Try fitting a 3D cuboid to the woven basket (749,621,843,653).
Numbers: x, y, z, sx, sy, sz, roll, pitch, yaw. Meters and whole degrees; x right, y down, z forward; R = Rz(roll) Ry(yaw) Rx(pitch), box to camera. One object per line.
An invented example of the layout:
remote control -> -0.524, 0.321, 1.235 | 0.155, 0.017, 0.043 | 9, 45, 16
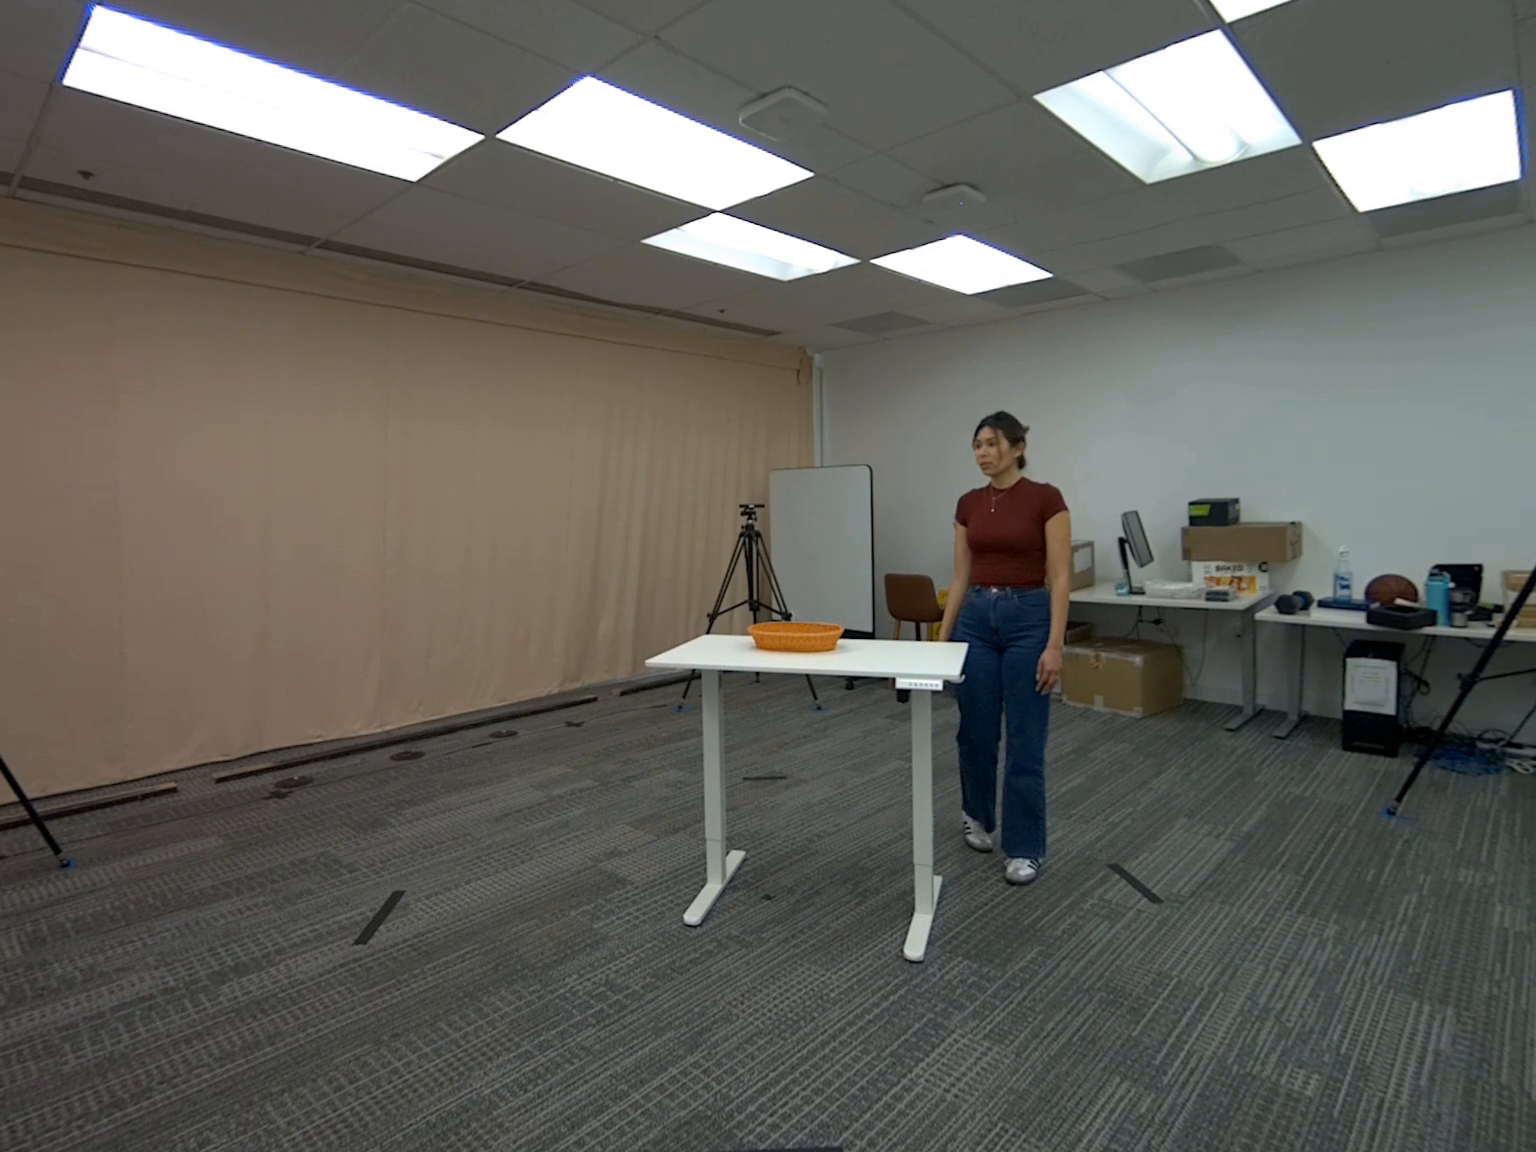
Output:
woven basket -> 0.098, 0.227, 2.990 | 0.358, 0.073, 0.248 | 1, 6, 20
